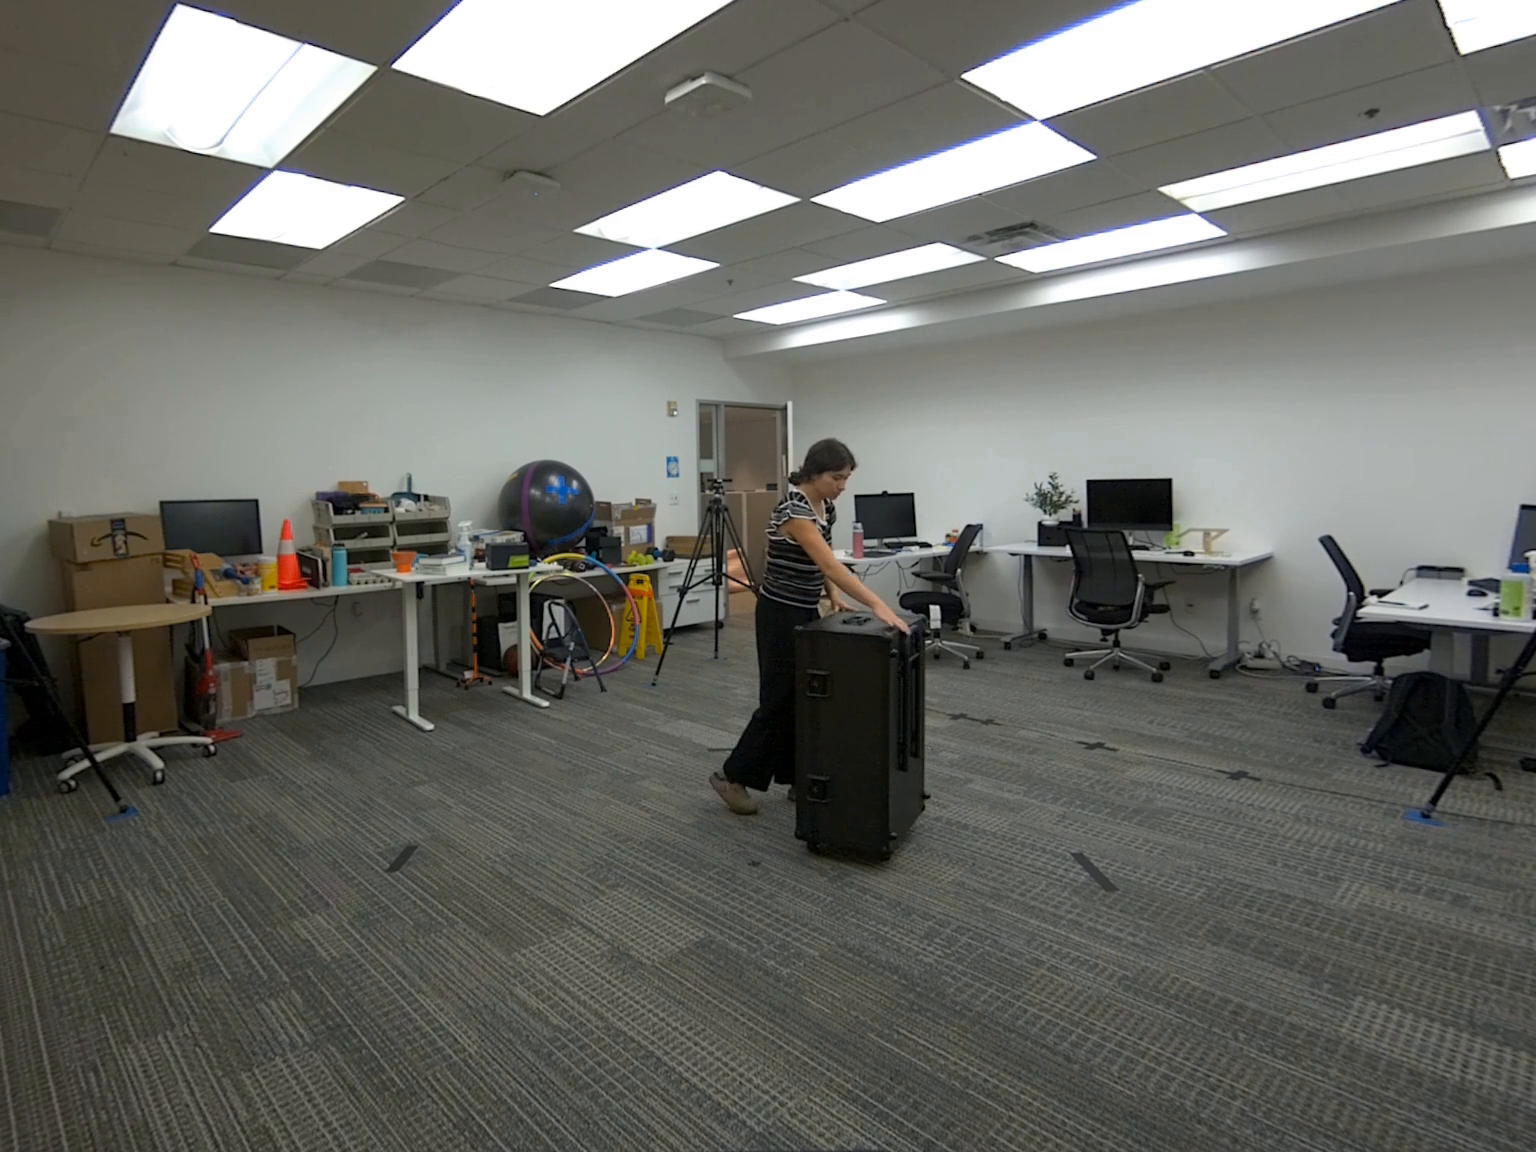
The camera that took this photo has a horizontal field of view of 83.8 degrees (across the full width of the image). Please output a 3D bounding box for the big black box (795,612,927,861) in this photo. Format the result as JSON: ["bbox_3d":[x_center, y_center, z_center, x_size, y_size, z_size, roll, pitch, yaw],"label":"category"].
[{"bbox_3d":[0.372,0.595,3.247,0.406,0.858,0.510,2,5,27],"label":"big black box"}]
